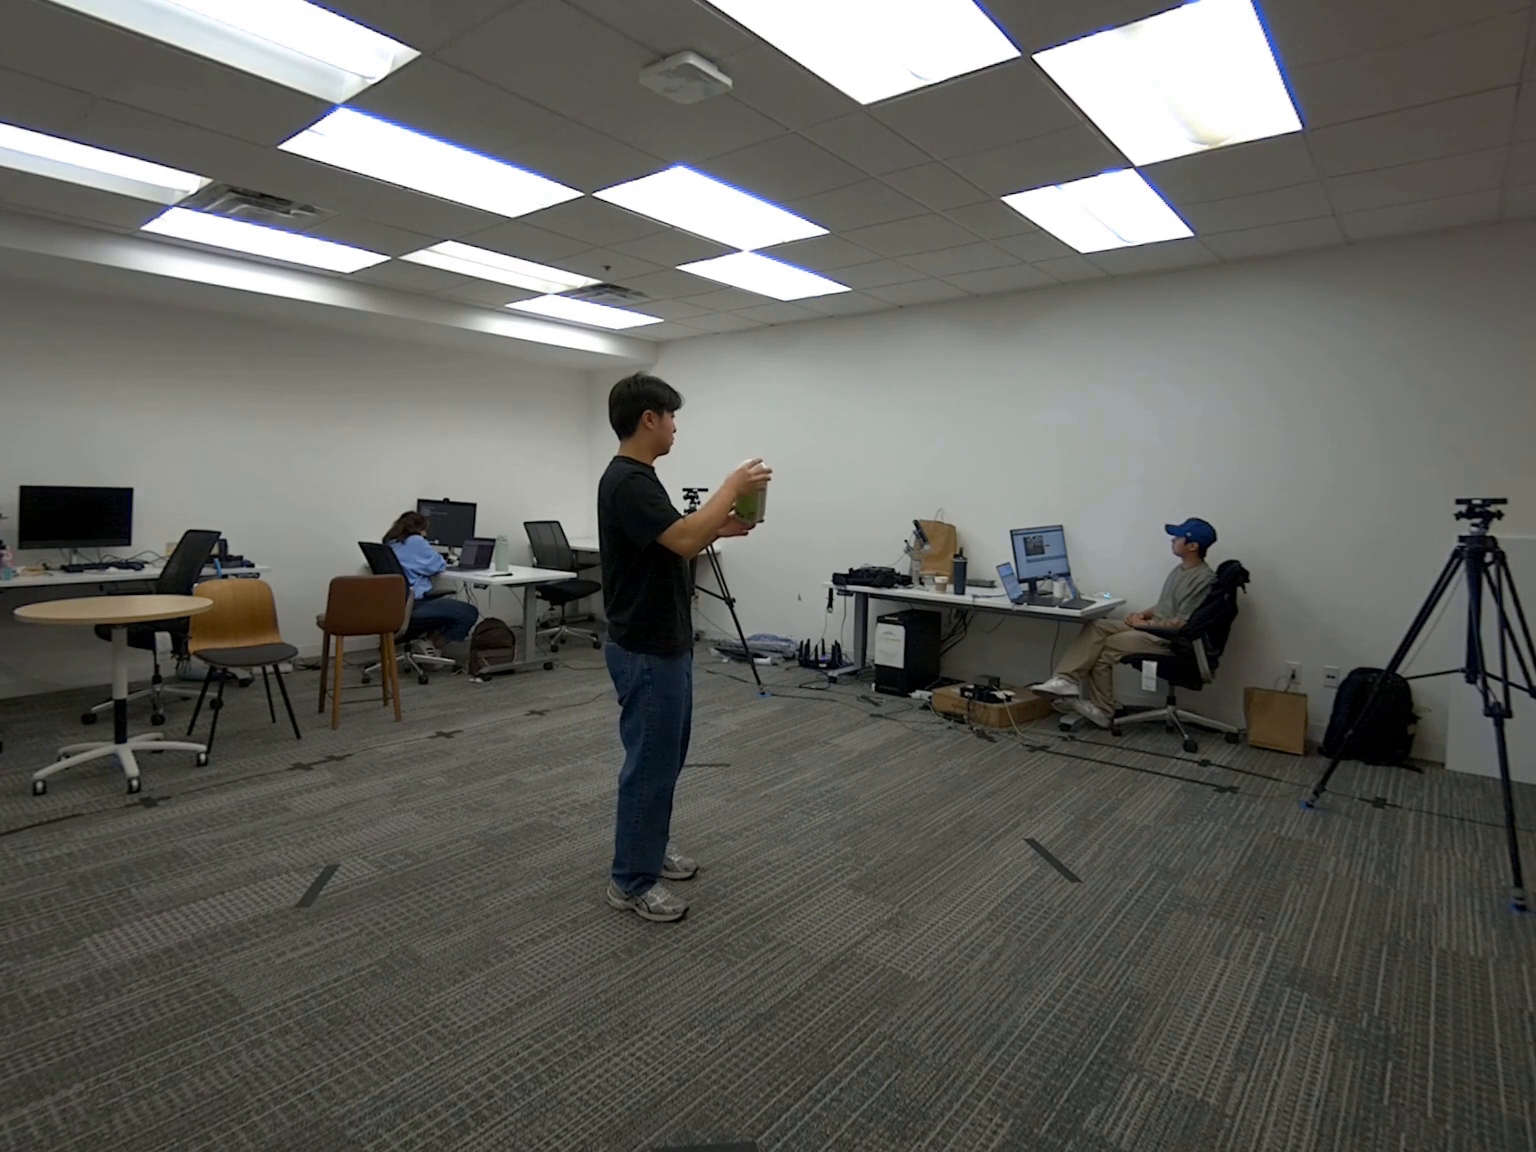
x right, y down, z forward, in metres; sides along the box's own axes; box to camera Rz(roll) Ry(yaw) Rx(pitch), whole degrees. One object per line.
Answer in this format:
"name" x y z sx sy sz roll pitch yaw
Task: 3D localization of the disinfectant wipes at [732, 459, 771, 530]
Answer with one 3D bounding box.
"disinfectant wipes" -0.063 -0.272 2.824 0.117 0.121 0.212 1 -38 -4
